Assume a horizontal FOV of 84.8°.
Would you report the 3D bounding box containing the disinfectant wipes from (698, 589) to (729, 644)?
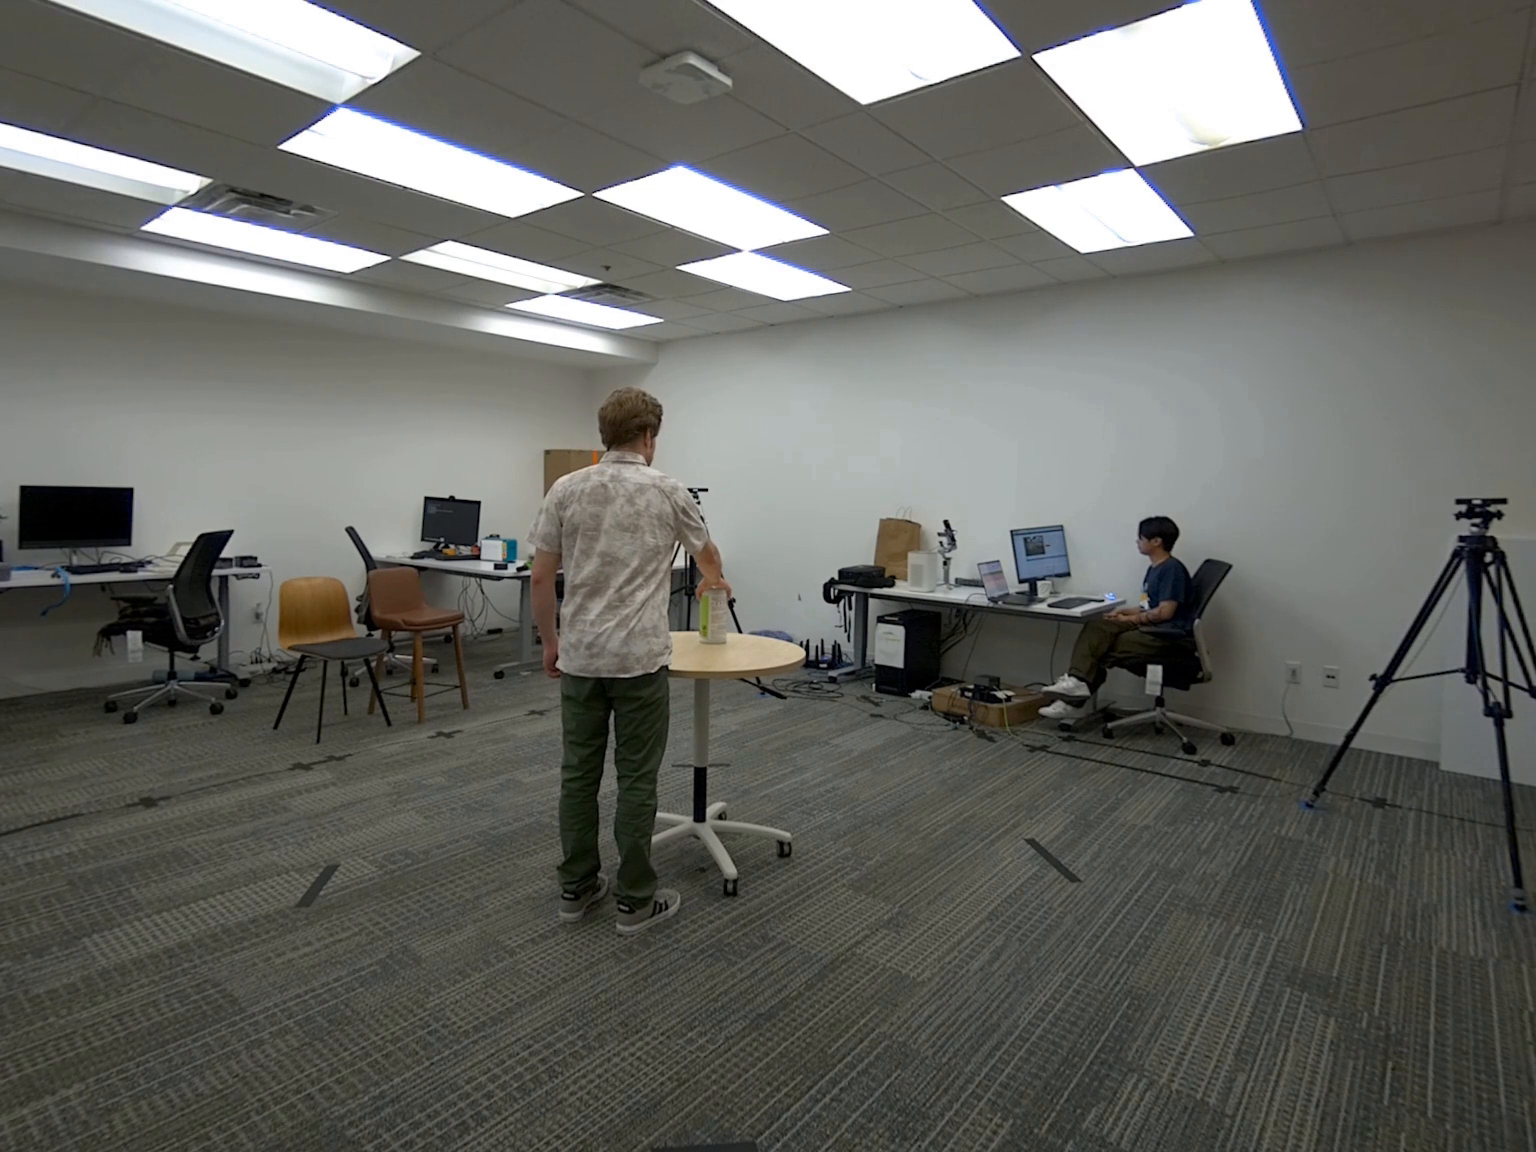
[{"bbox_3d":[-0.224,0.146,3.322,0.117,0.216,0.118,1,6,-2],"label":"disinfectant wipes"}]
